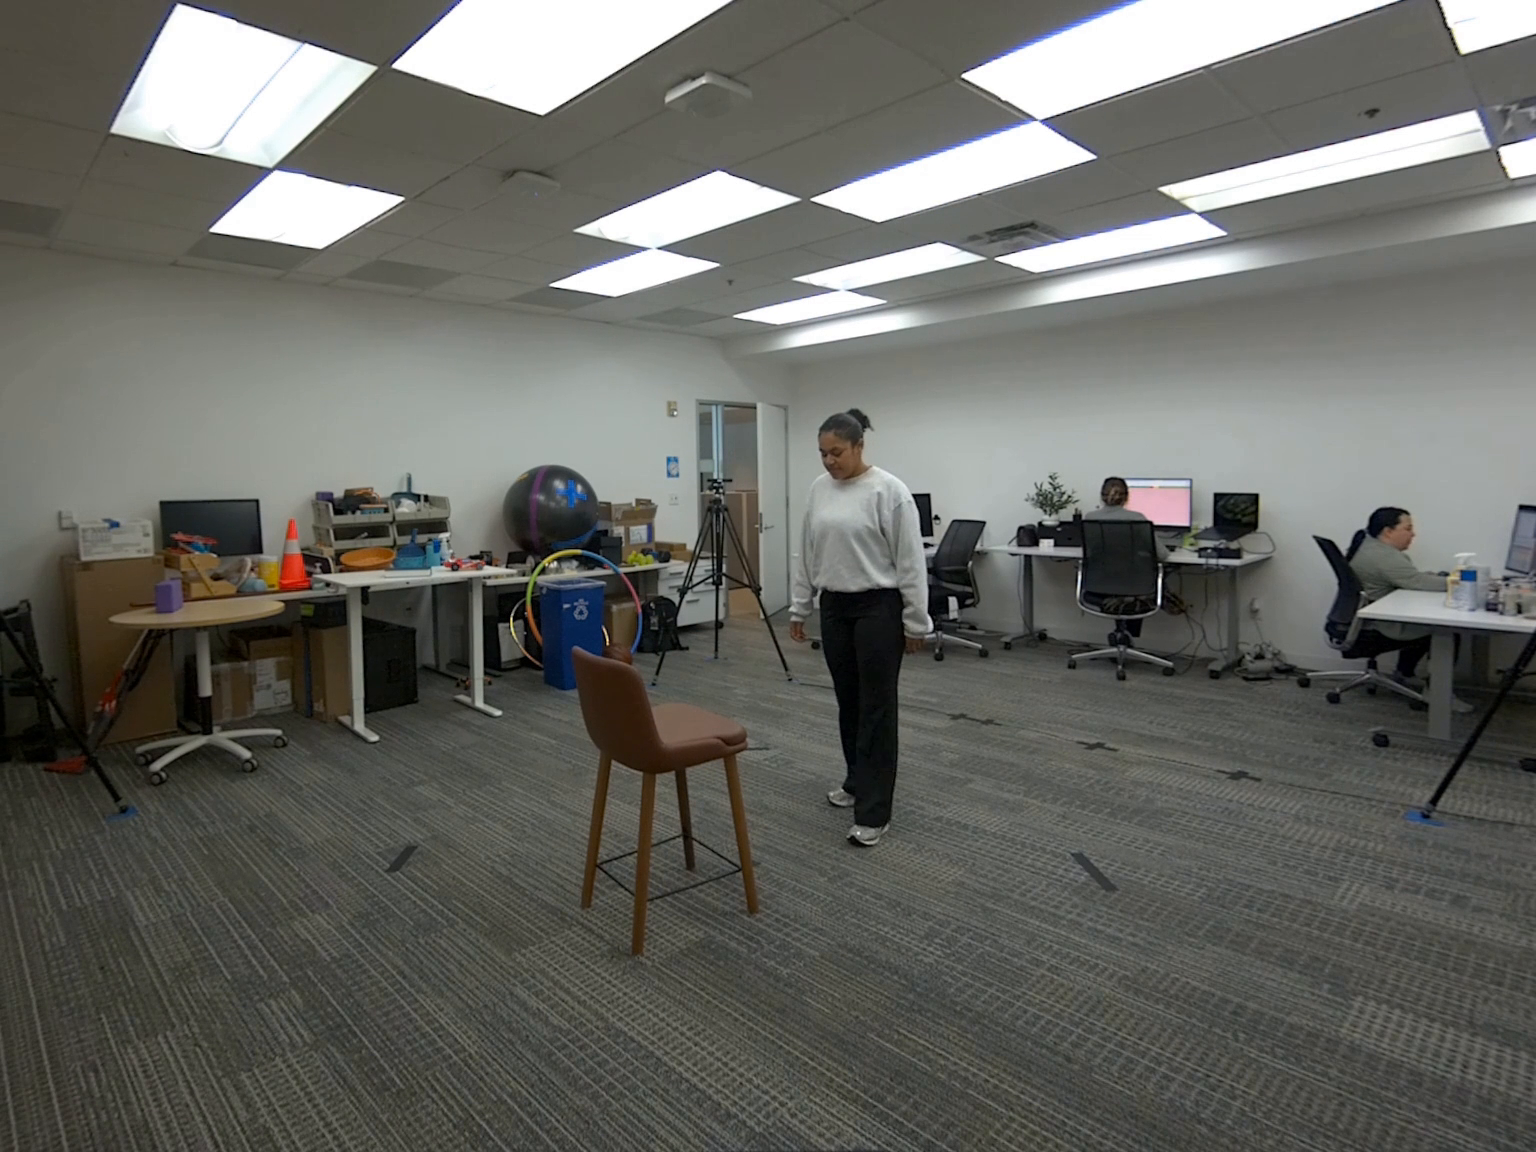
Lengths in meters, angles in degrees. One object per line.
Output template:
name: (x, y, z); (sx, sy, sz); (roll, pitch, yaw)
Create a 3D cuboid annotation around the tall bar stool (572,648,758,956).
tall bar stool: (-0.340, 0.656, 2.762); (0.456, 0.885, 0.470); (-7, 7, -36)
